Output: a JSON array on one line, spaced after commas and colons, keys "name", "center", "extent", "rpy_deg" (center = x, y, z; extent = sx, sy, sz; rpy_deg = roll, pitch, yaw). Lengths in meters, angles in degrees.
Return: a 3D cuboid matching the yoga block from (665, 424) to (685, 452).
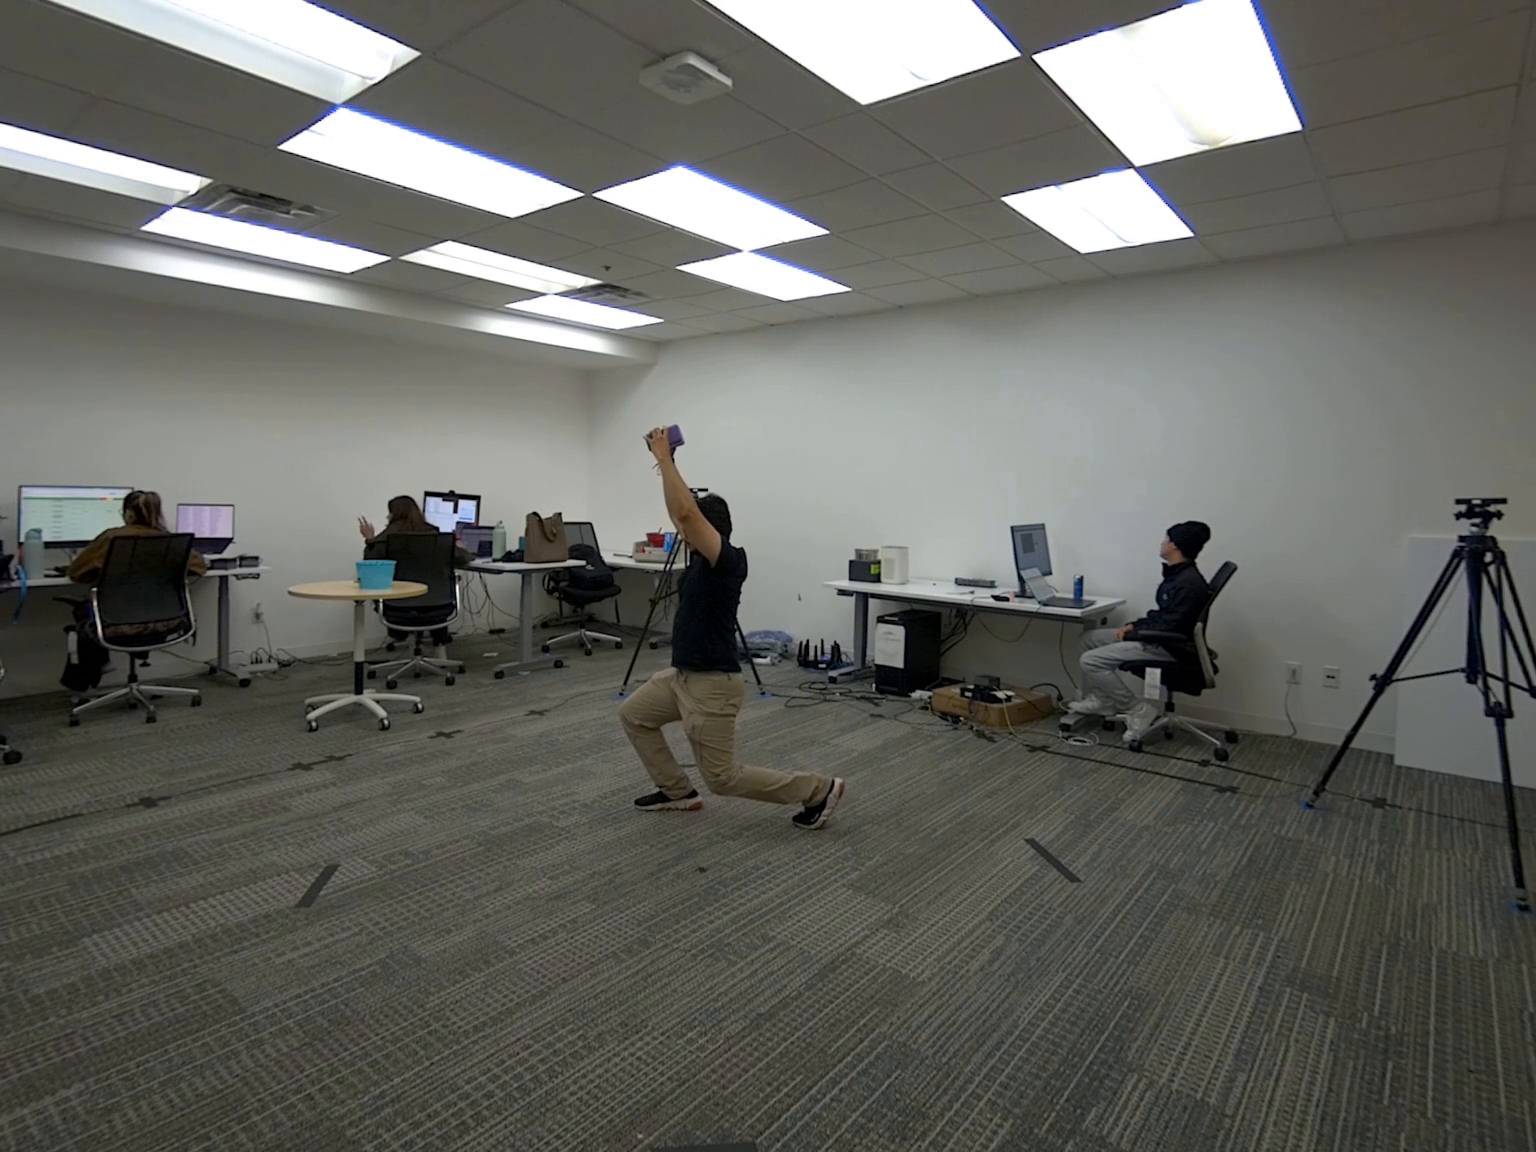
[{"name": "yoga block", "center": [-0.449, -0.590, 3.629], "extent": [0.149, 0.076, 0.230], "rpy_deg": [-18, 5, -1]}]
